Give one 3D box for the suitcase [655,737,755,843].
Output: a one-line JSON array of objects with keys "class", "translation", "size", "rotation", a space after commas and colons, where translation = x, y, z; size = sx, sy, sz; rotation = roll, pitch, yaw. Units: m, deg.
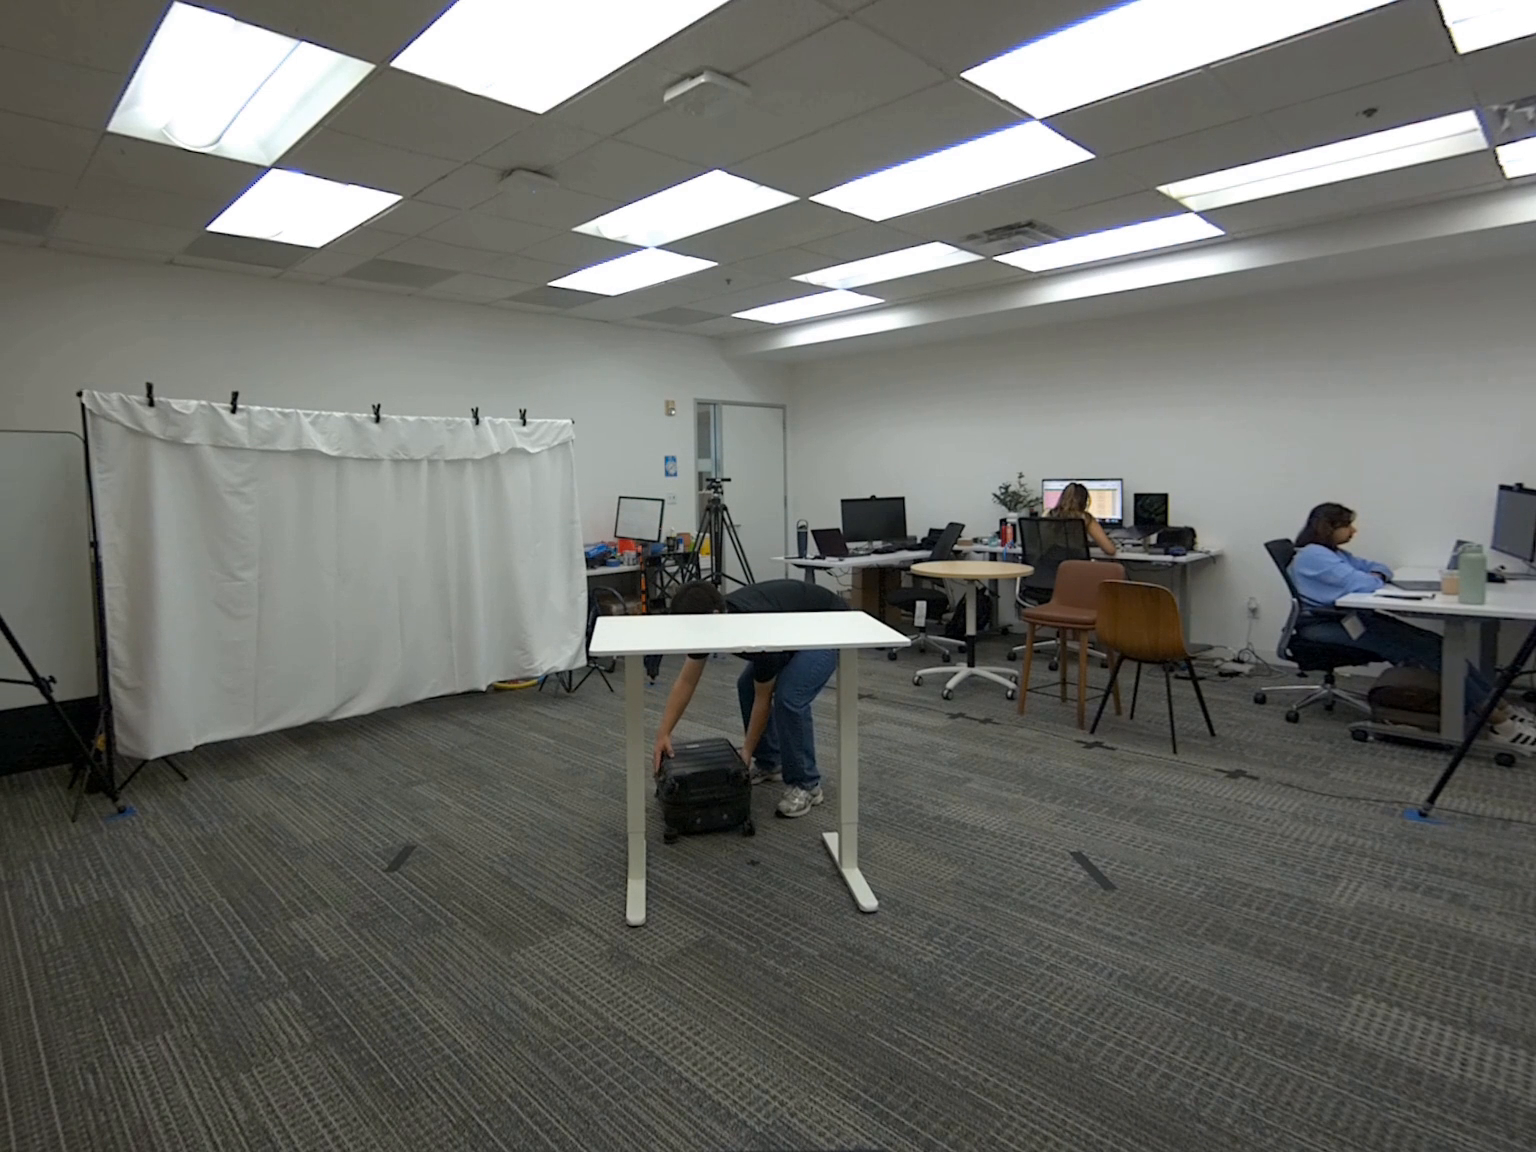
[{"class": "suitcase", "translation": [-0.322, 0.845, 3.769], "size": [0.380, 0.256, 0.994], "rotation": [-4, 7, -12]}]
